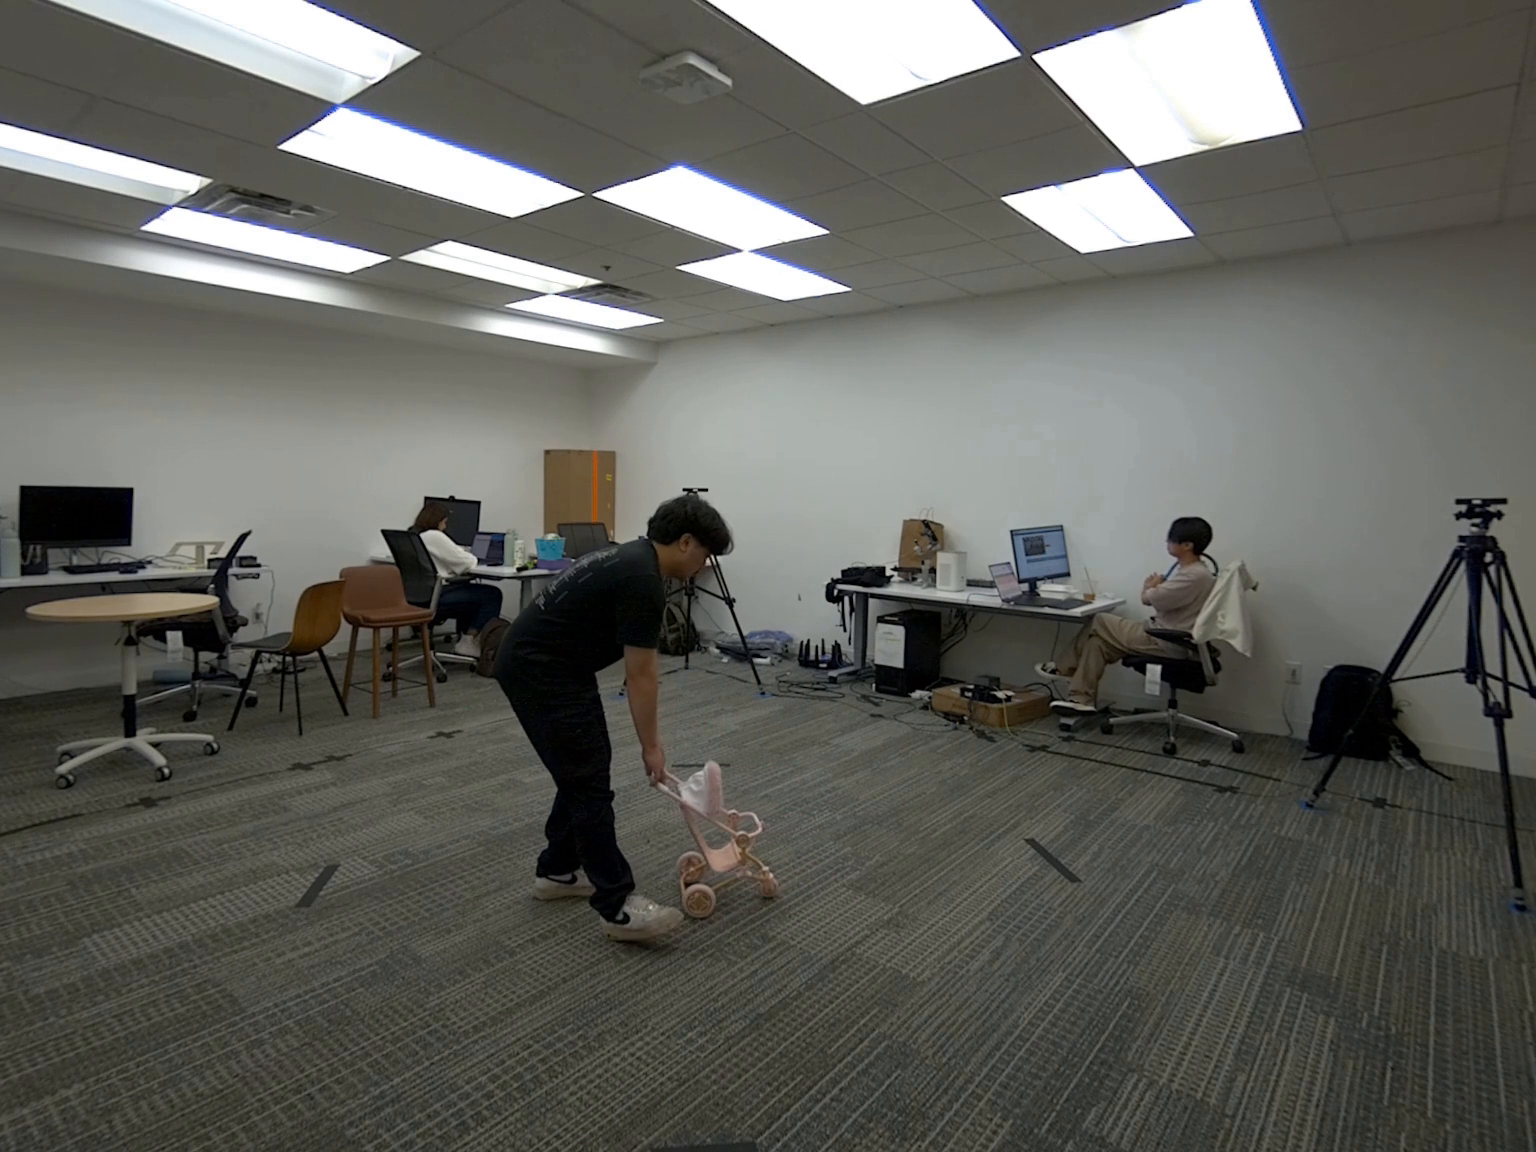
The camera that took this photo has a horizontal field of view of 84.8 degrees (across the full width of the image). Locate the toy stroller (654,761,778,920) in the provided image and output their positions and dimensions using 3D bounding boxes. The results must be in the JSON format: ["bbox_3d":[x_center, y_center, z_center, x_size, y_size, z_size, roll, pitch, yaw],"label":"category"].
[{"bbox_3d":[-0.184,0.867,2.869,0.340,0.532,0.283,-14,4,-3],"label":"toy stroller"}]
